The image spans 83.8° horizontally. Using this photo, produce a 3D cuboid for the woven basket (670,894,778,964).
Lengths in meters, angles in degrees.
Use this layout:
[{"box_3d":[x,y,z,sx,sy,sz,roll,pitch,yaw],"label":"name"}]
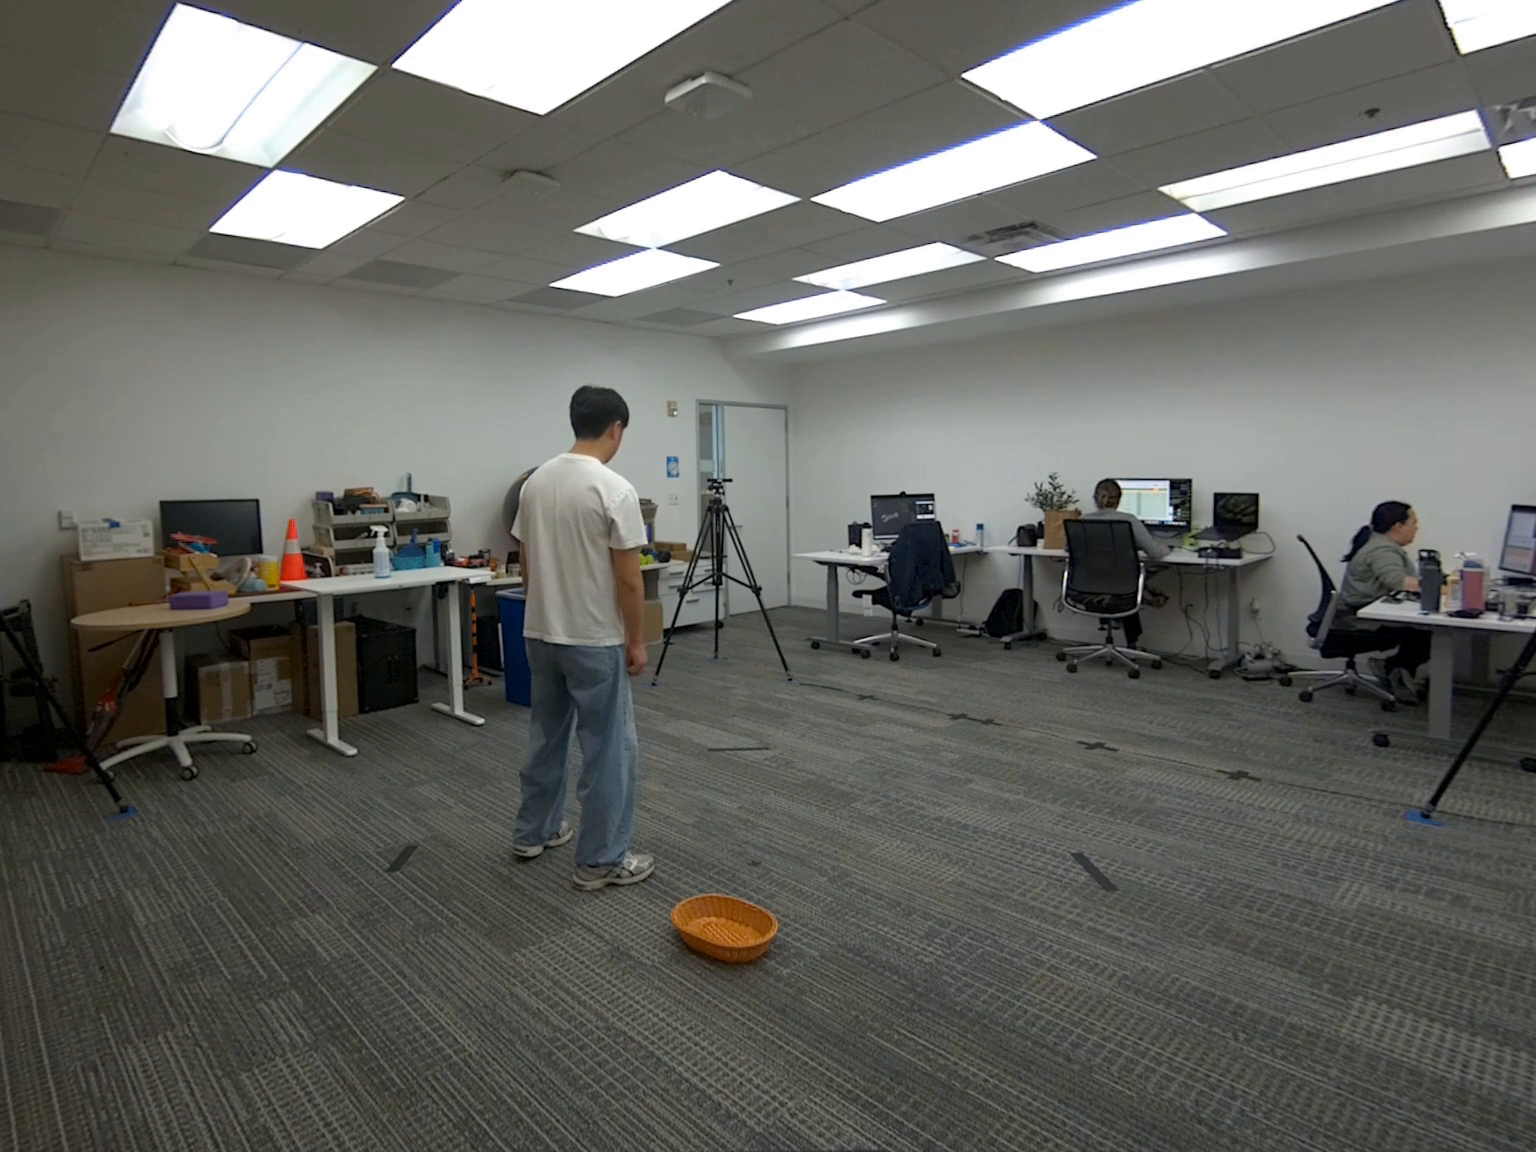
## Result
[{"box_3d":[-0.125,1.069,2.590,0.361,0.073,0.246,4,8,38],"label":"woven basket"}]
